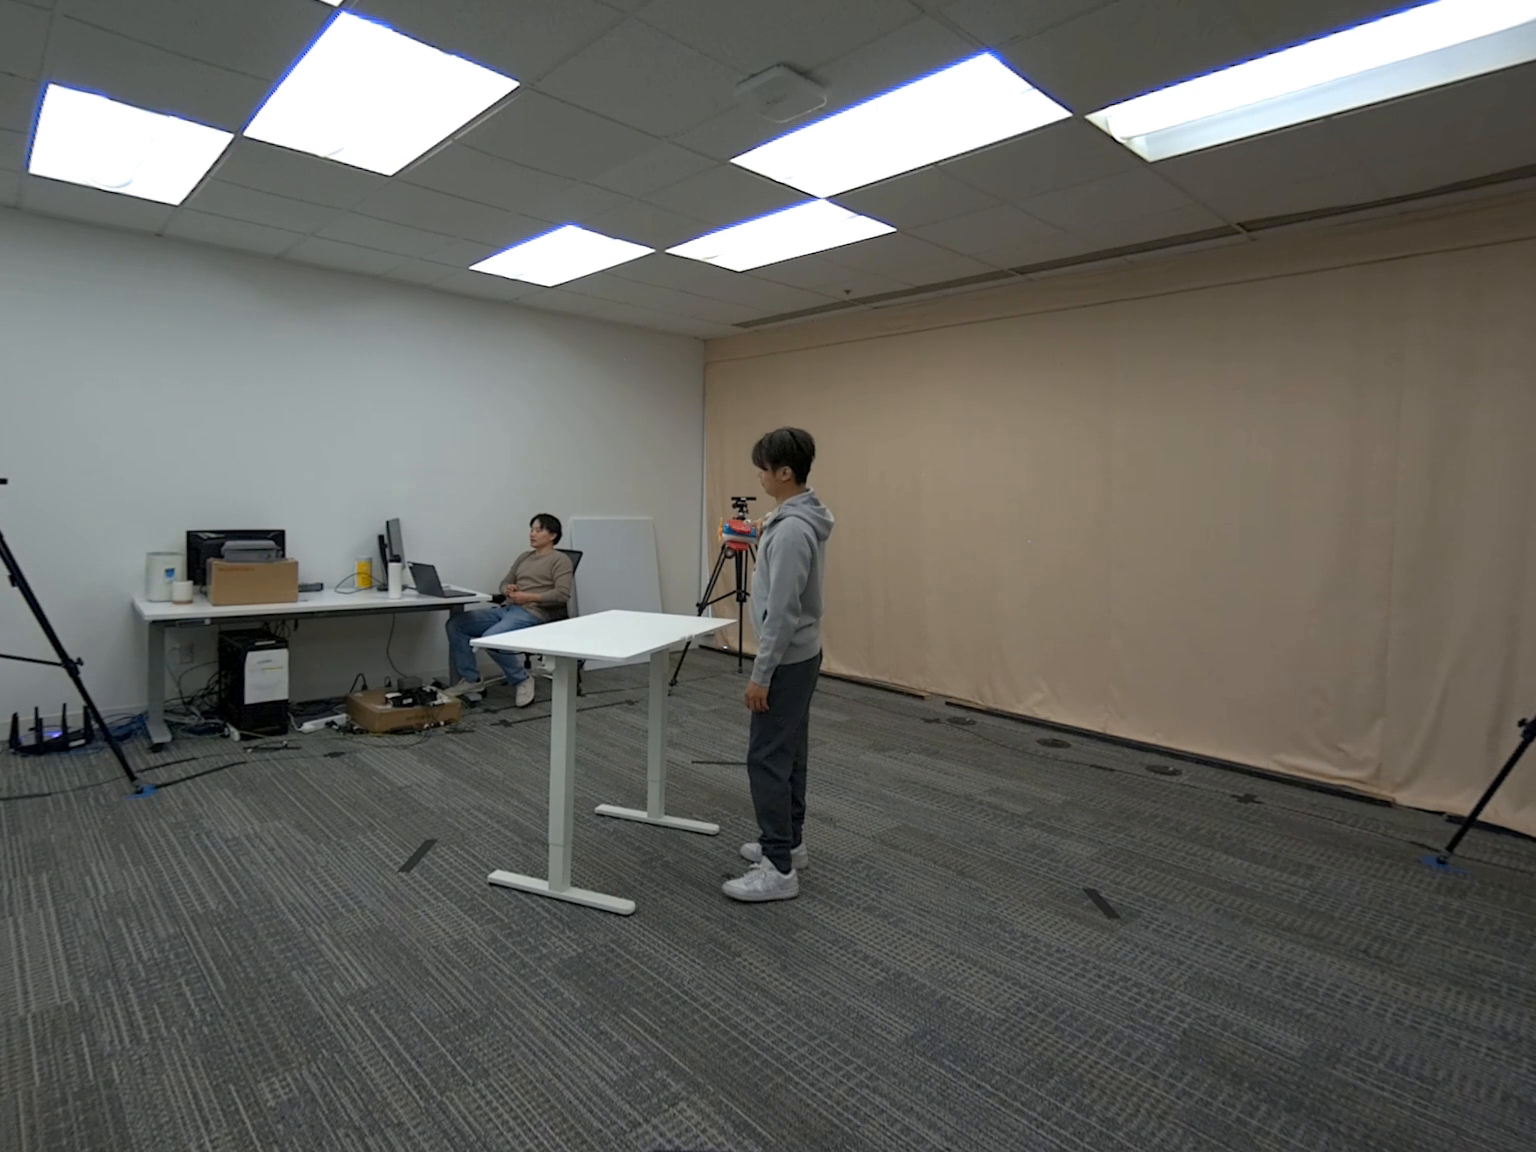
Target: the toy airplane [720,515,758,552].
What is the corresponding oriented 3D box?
[{"bbox_3d":[-0.111,-0.186,3.769,0.255,0.155,0.258,-16,17,-34],"label":"toy airplane"}]
